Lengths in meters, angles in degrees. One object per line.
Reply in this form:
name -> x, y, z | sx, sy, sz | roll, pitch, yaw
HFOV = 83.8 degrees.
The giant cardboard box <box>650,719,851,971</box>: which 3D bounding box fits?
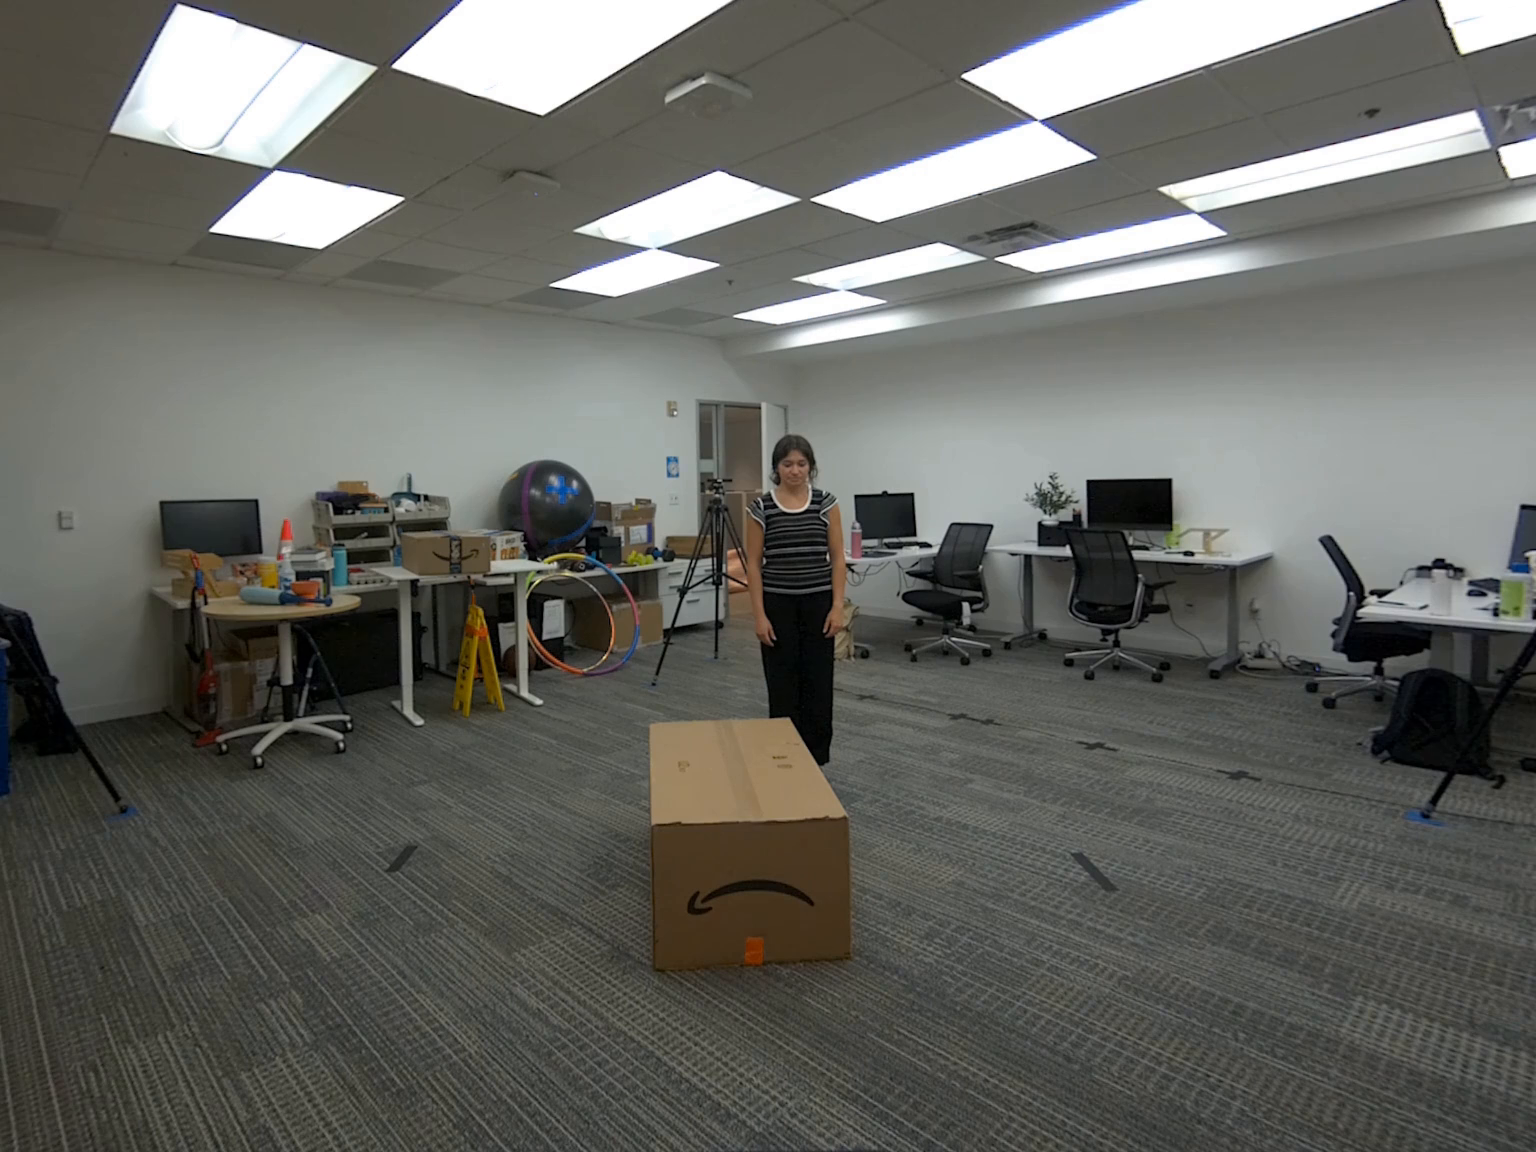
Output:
giant cardboard box -> -0.118, 0.851, 2.948 | 0.574, 0.424, 1.037 | -1, 6, -7
